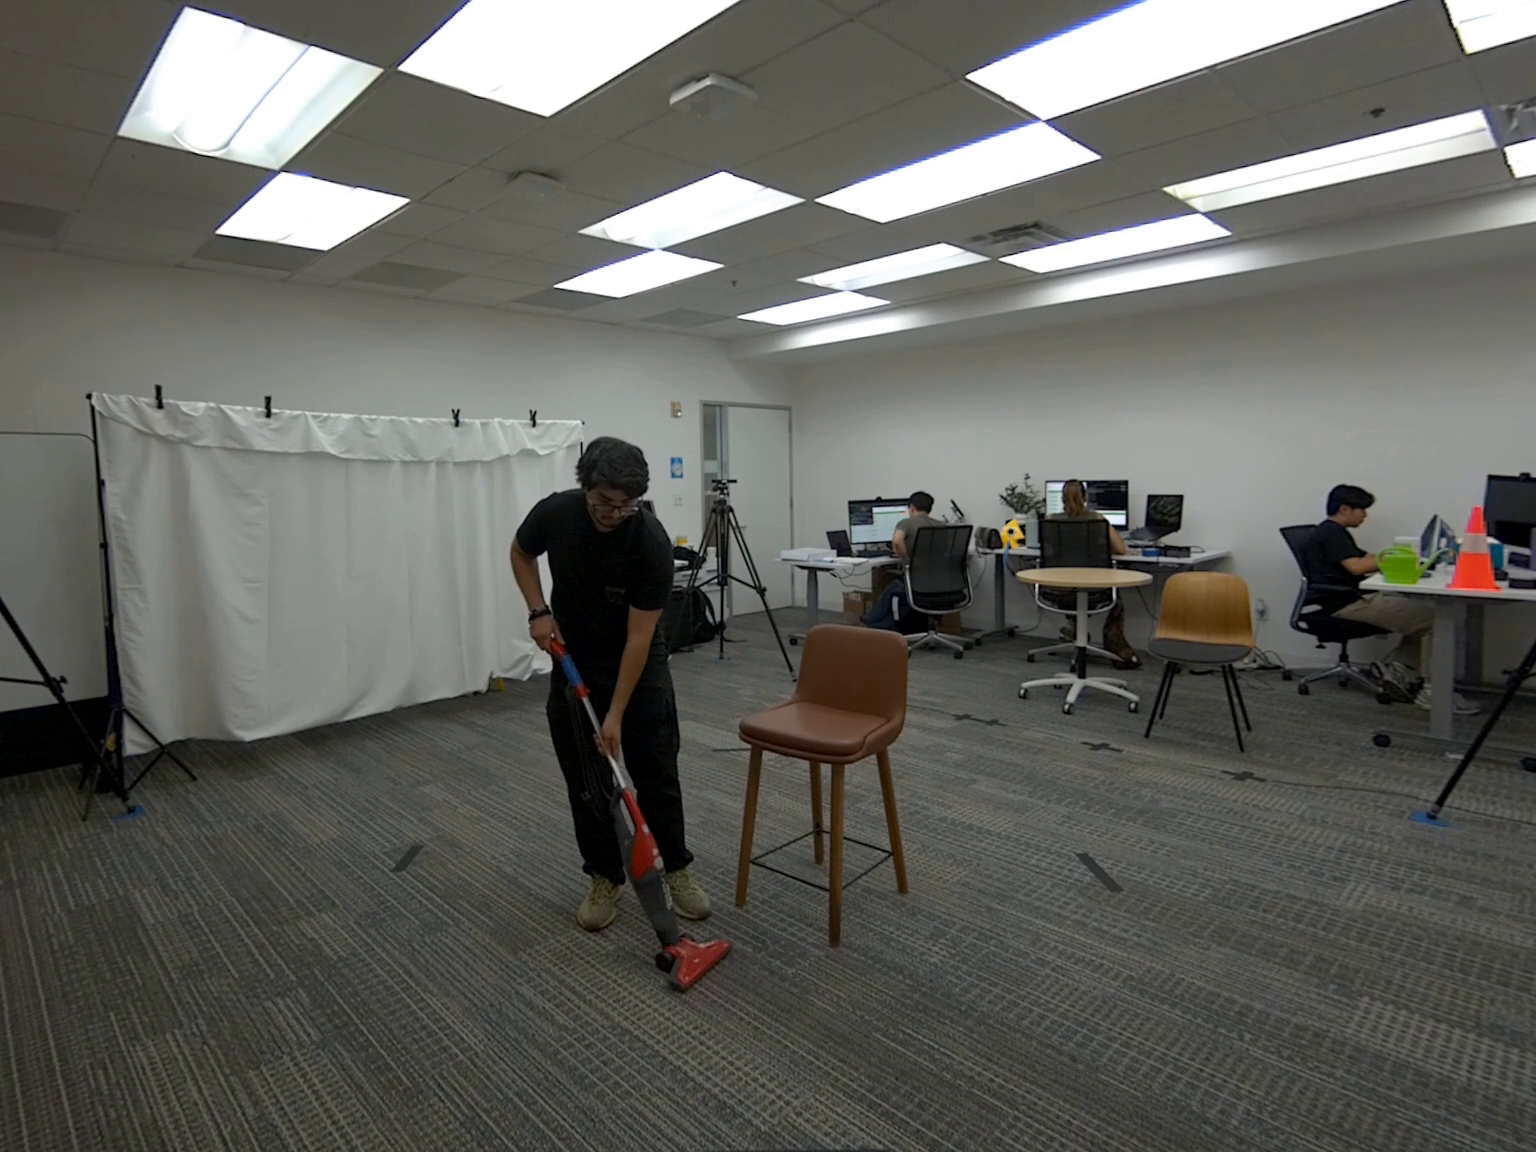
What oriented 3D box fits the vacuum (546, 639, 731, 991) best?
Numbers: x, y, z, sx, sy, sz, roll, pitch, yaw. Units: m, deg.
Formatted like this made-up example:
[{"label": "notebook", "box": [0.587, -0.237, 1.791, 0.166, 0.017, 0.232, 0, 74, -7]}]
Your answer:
[{"label": "vacuum", "box": [-0.446, 0.659, 2.573, 0.145, 1.065, 0.246, -32, -14, 31]}]
